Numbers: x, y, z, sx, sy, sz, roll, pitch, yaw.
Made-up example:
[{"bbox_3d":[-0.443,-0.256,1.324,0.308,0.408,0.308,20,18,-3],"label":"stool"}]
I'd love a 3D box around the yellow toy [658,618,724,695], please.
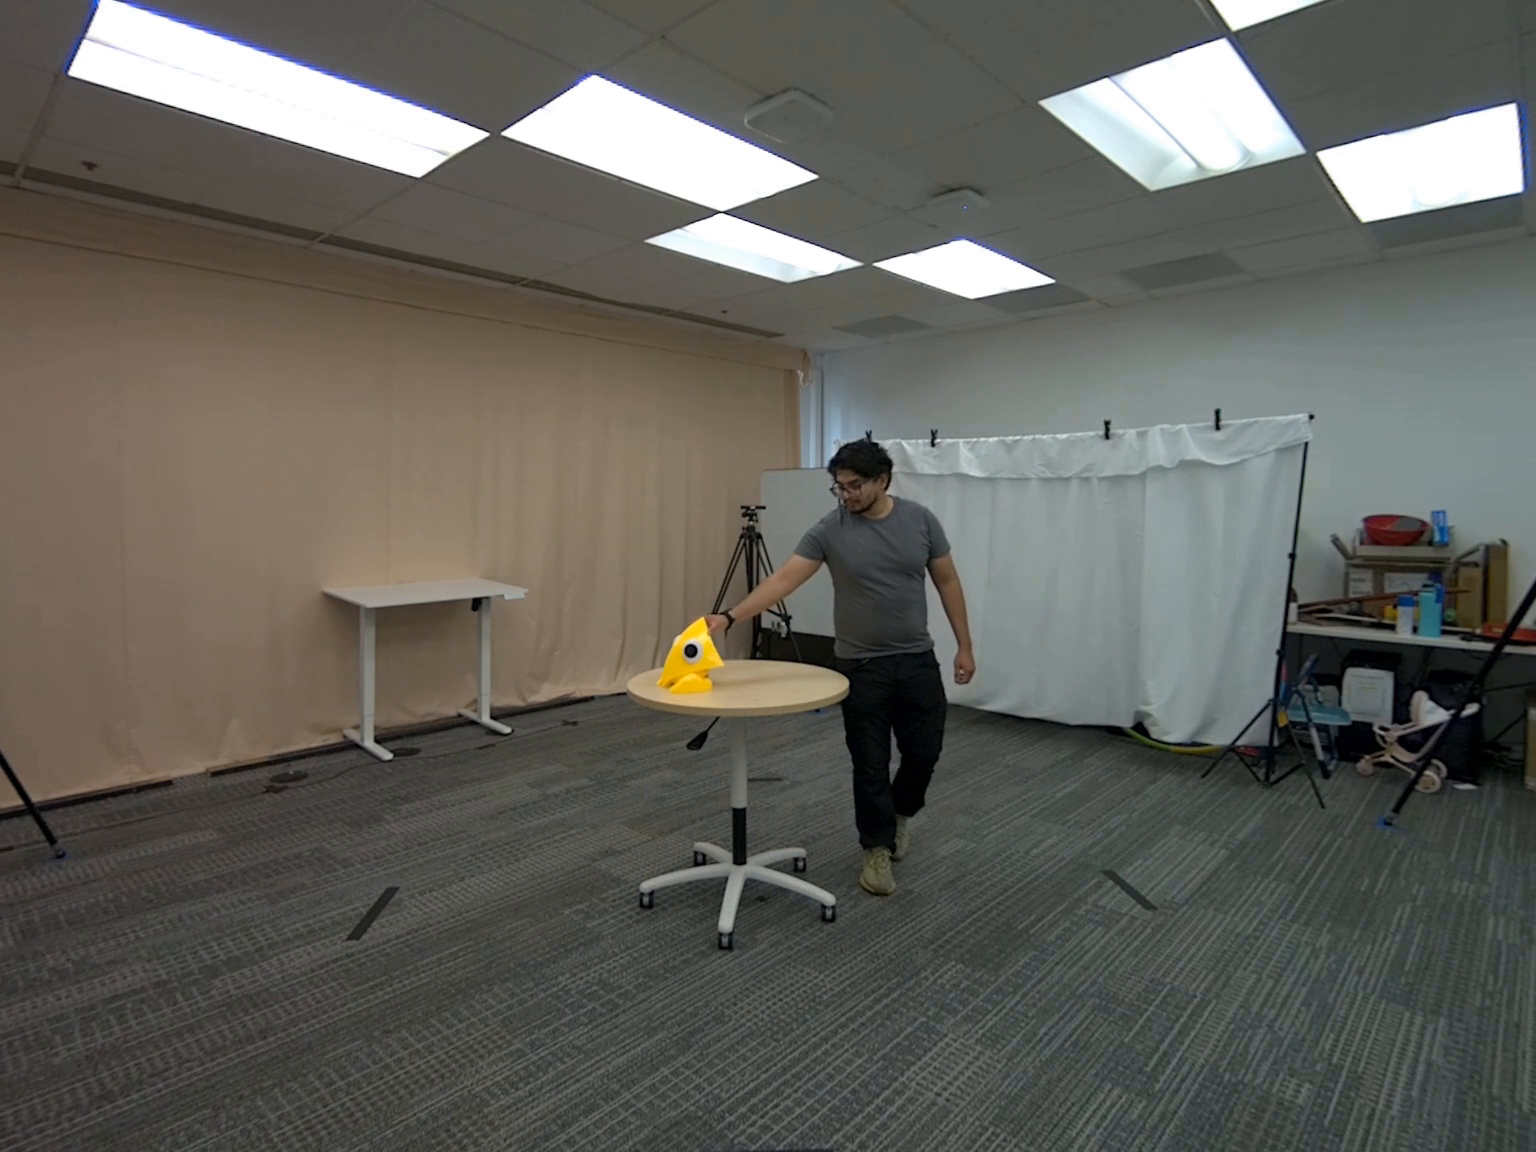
[{"bbox_3d":[-0.263,0.260,2.847,0.188,0.230,0.210,-2,5,-26],"label":"yellow toy"}]
